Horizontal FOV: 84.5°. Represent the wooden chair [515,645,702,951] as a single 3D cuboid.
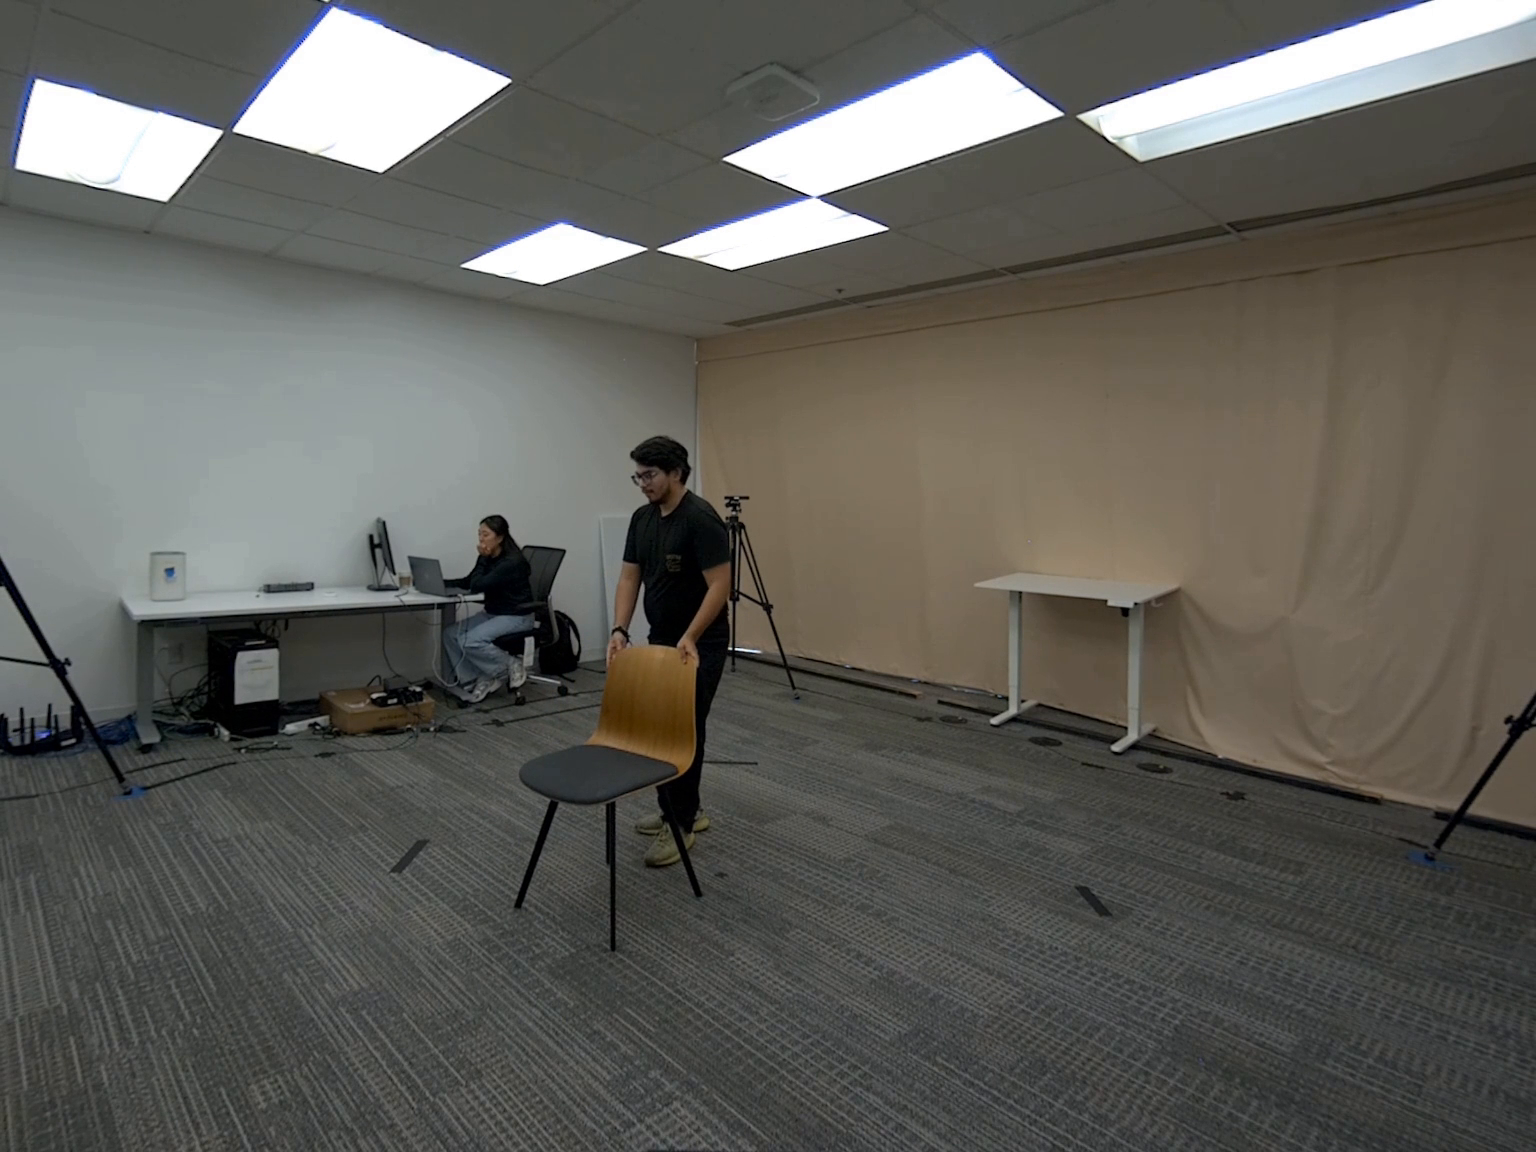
[{"bbox_3d":[-0.534,0.692,2.834,0.489,0.877,0.511,4,0,34],"label":"wooden chair"}]
